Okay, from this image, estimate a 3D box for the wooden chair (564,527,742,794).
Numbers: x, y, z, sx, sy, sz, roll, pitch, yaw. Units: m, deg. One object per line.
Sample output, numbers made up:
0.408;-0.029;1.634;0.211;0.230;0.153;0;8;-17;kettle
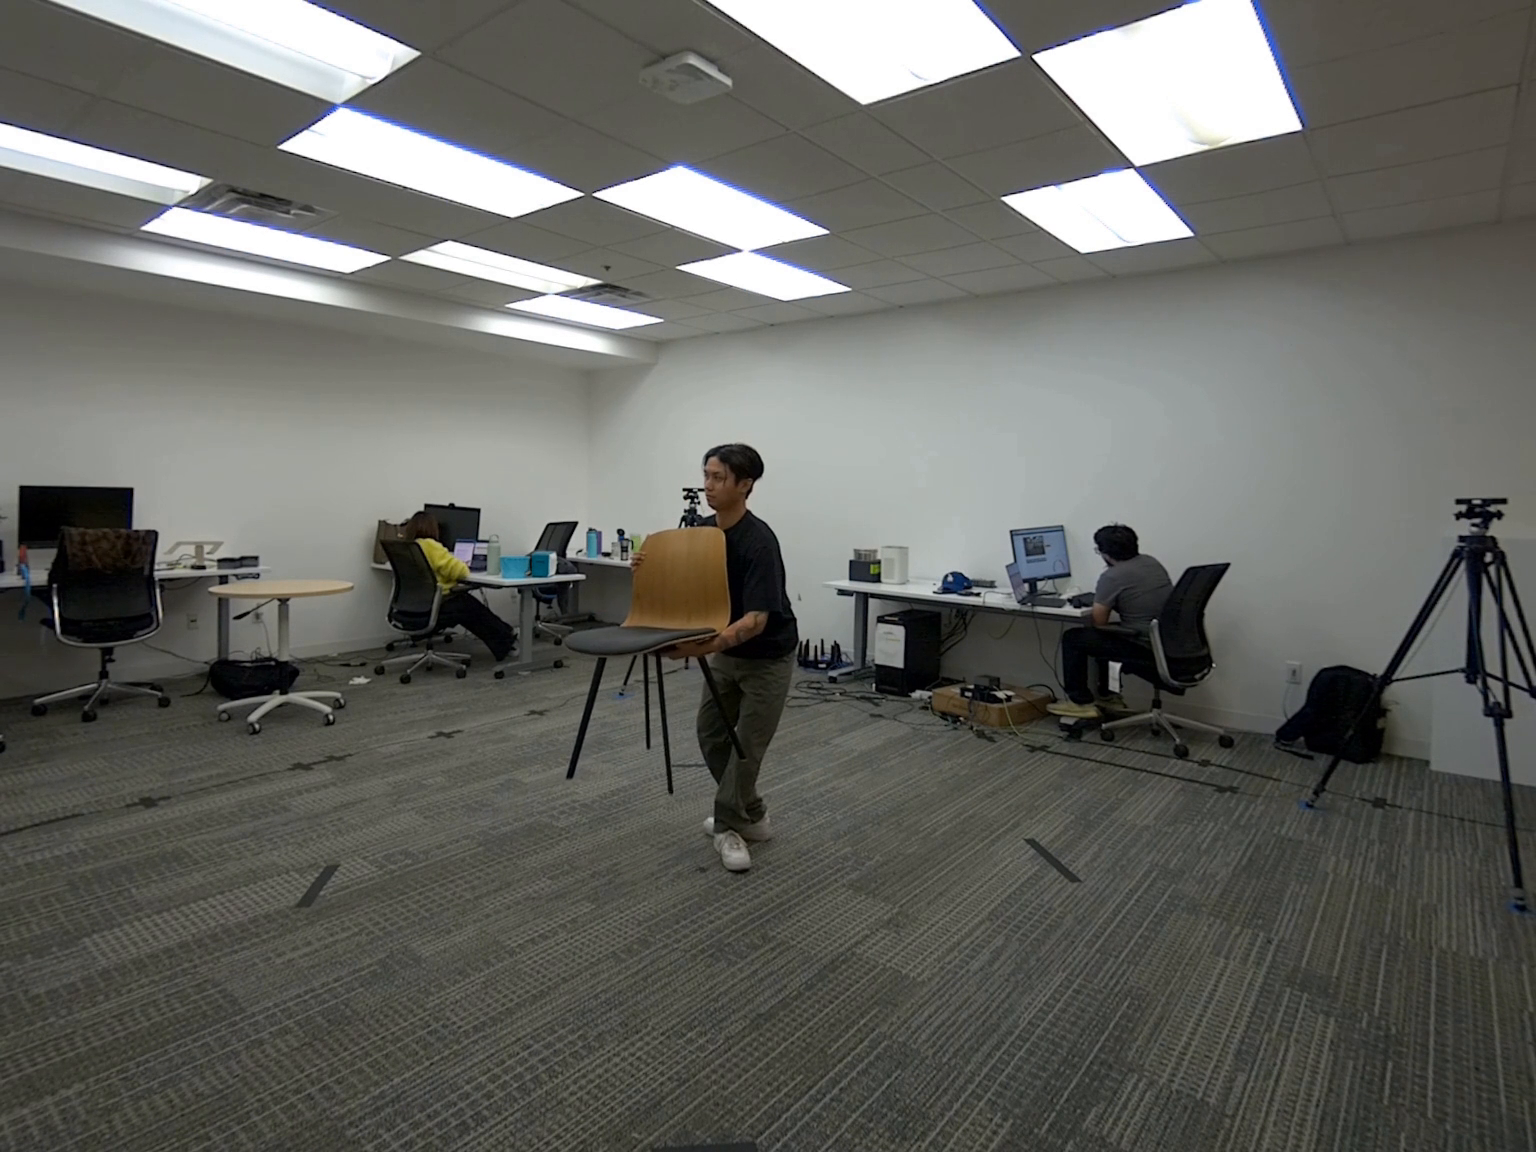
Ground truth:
-0.421;0.256;2.973;0.491;0.880;0.507;-2;-3;31;wooden chair
